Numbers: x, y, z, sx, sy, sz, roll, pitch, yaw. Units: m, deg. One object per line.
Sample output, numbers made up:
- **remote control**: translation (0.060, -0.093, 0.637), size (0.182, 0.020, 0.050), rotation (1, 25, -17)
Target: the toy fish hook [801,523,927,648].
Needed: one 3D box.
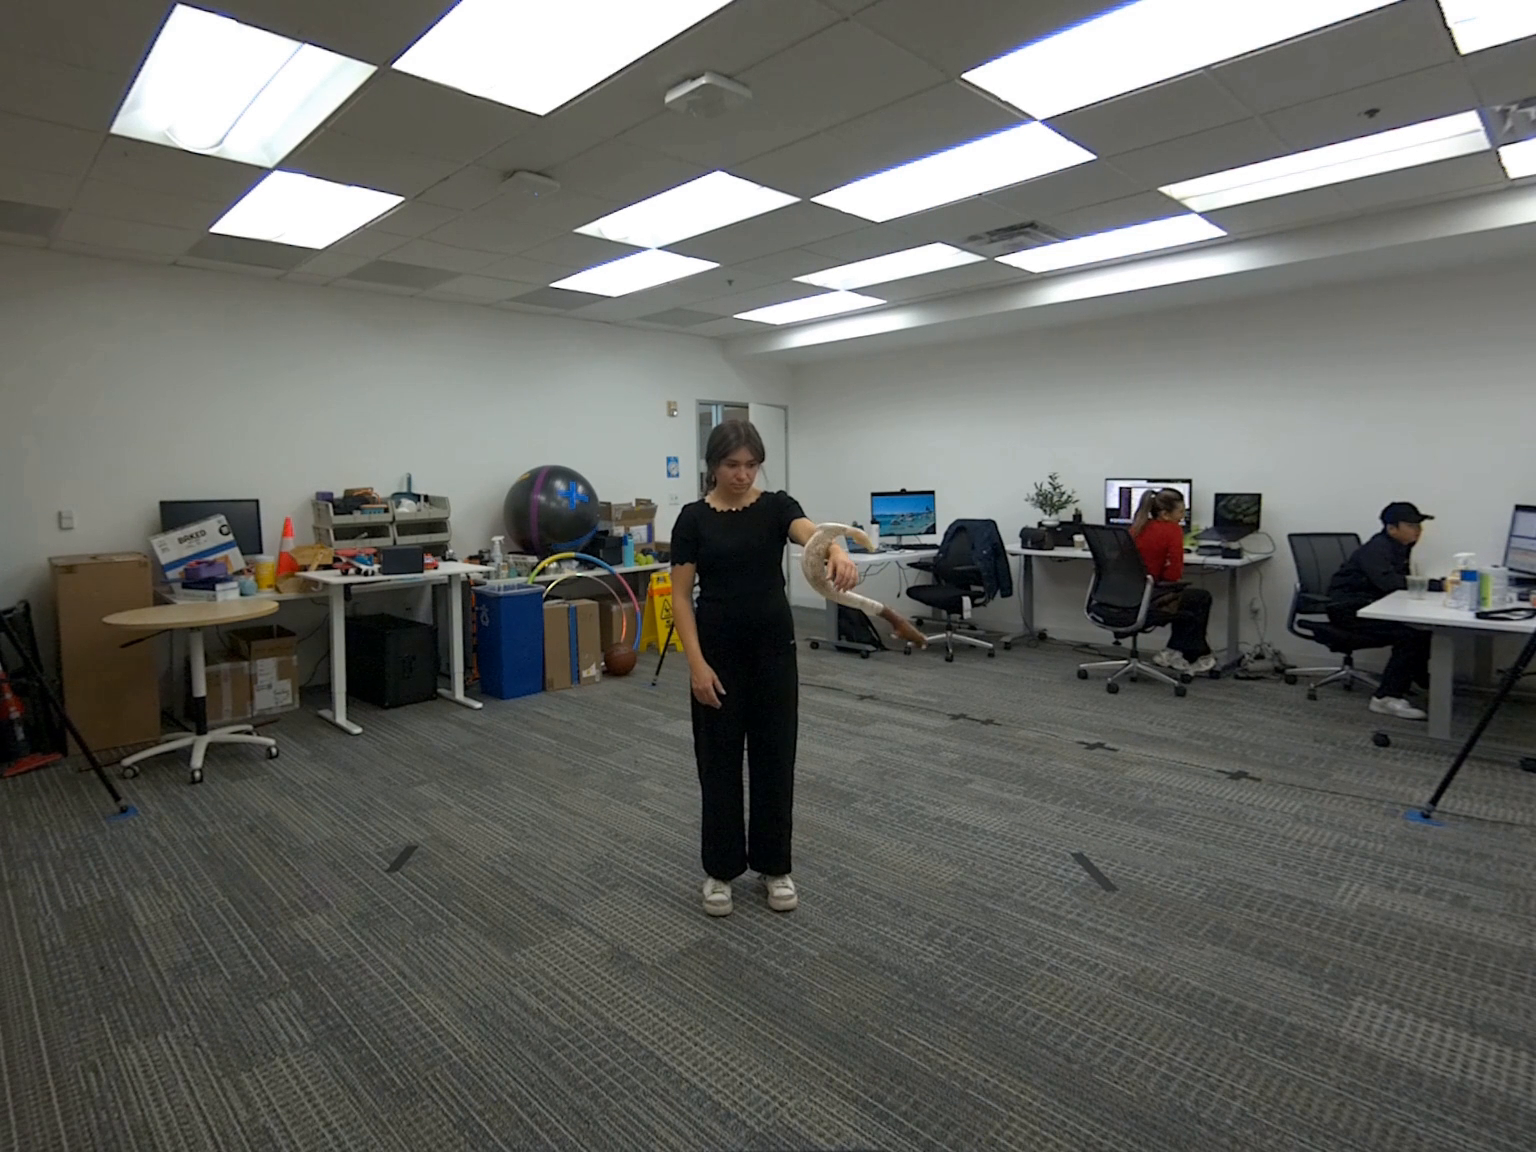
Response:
- **toy fish hook**: translation (0.299, 0.039, 2.490), size (0.495, 0.225, 0.049), rotation (35, -7, -17)
